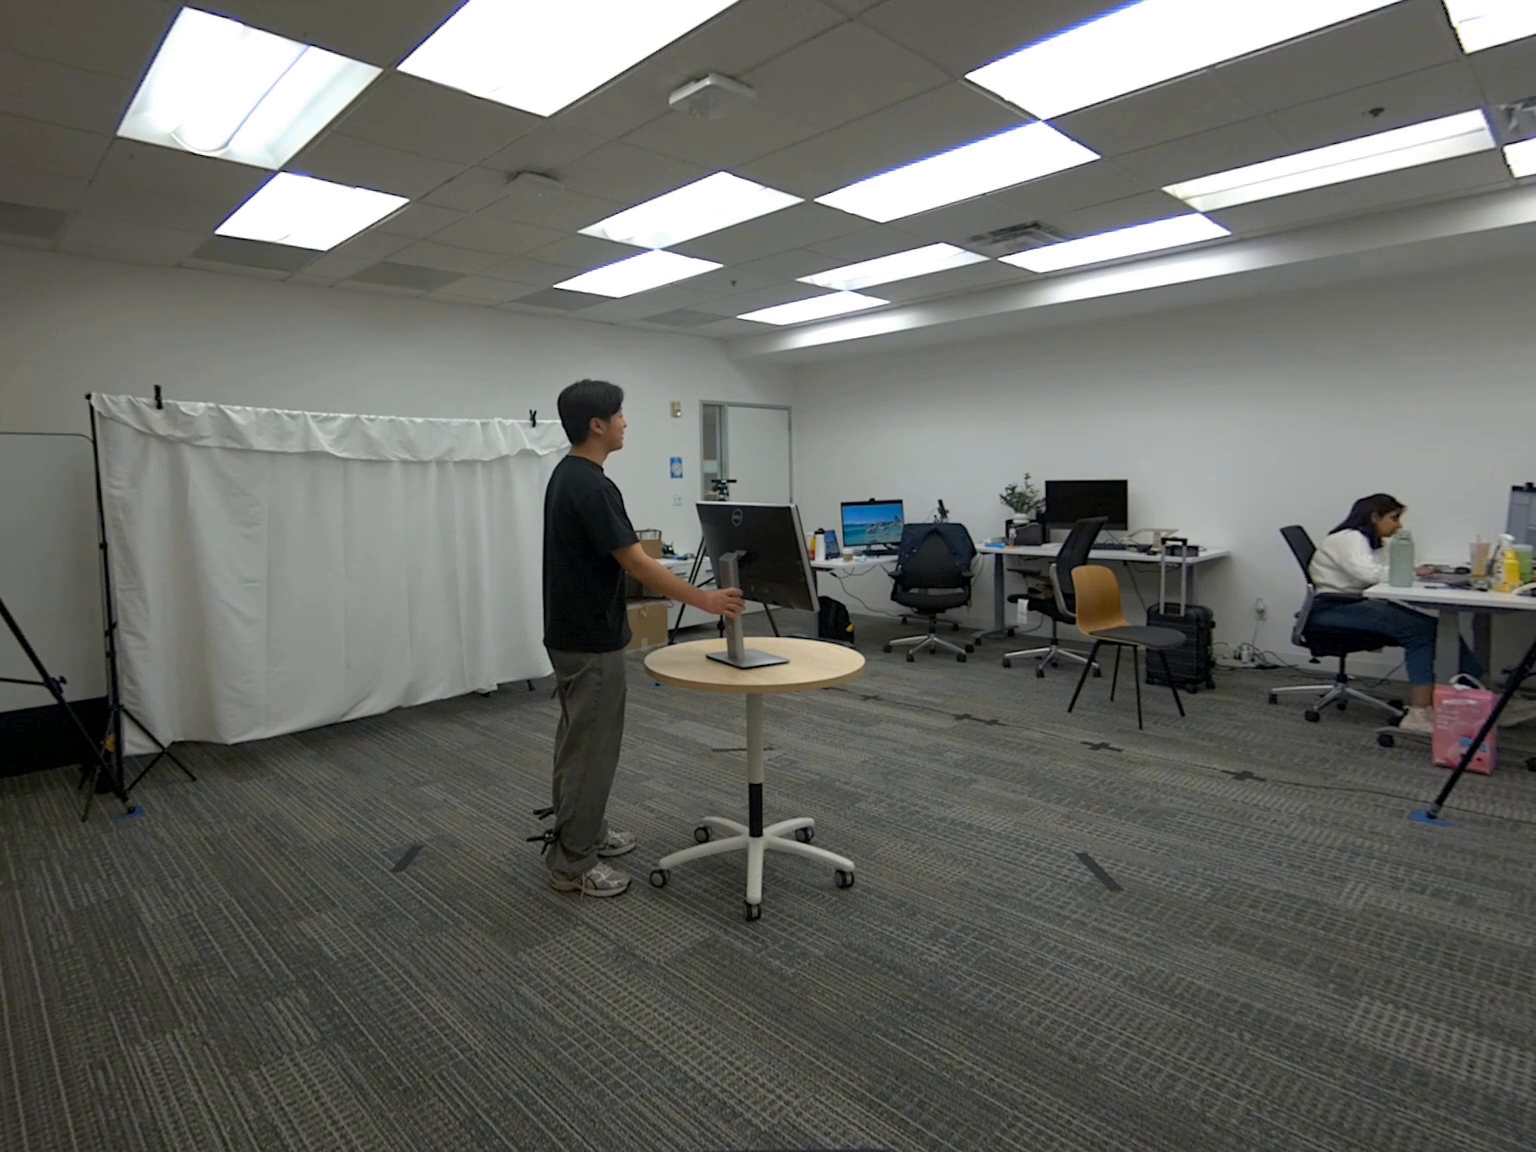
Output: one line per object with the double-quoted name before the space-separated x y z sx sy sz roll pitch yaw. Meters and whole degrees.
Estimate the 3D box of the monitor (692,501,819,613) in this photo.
"monitor" -0.072 0.030 2.933 0.216 0.564 0.578 -2 6 -33
